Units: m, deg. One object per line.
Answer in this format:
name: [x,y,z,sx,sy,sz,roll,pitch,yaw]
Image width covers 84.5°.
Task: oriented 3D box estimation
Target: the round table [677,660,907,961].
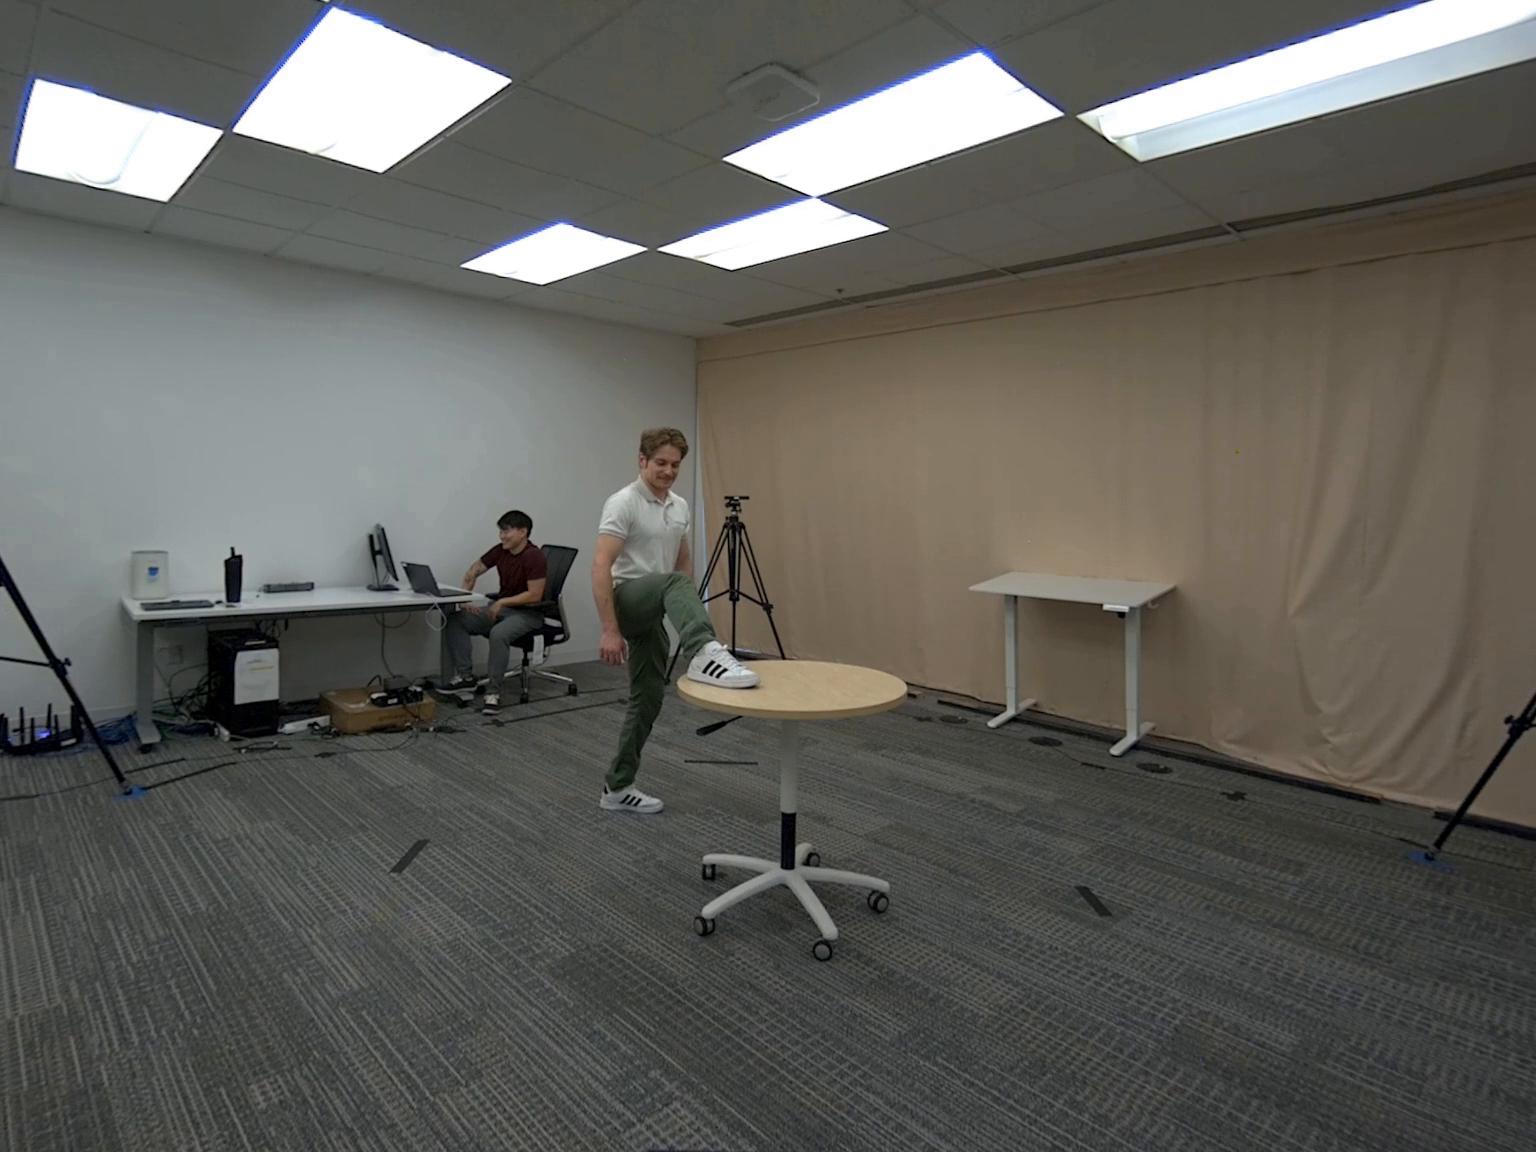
round table: [0.069,0.746,2.844,0.763,0.792,0.767,1,4,-1]
